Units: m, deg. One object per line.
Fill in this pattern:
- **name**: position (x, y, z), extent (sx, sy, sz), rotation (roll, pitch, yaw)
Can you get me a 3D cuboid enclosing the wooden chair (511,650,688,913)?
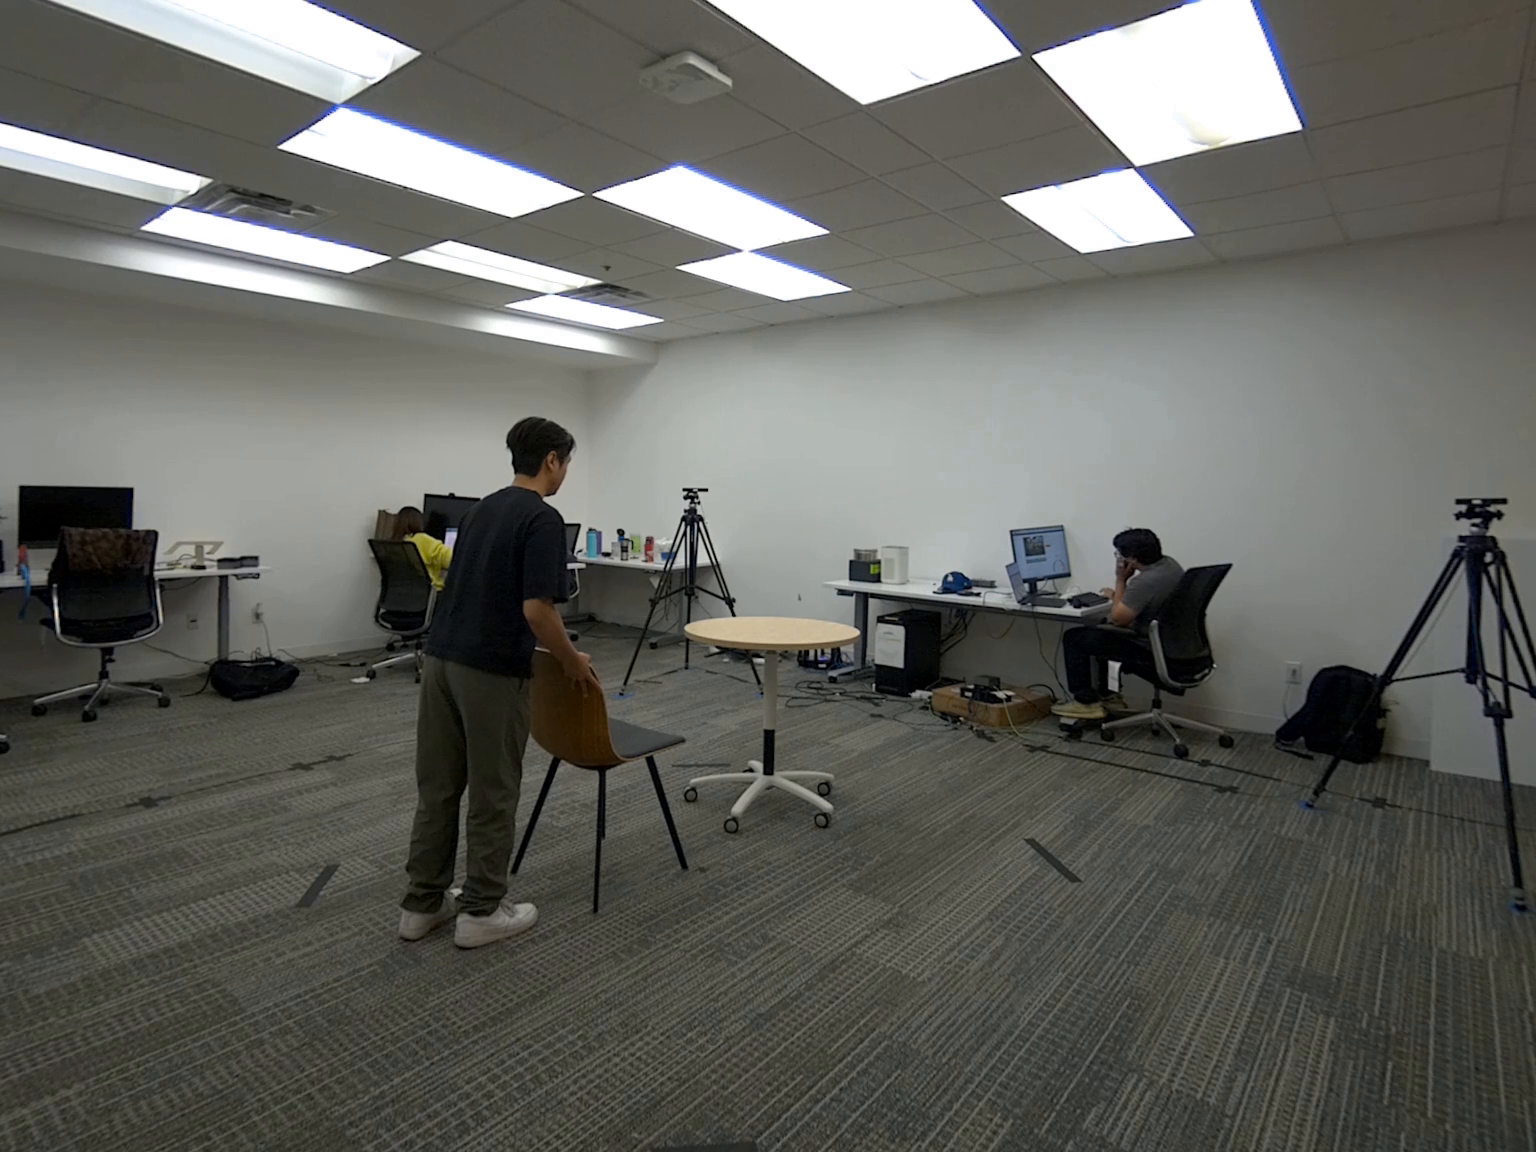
- **wooden chair**: position (-0.601, 0.640, 3.059), extent (0.494, 0.872, 0.509), rotation (3, 8, 38)
